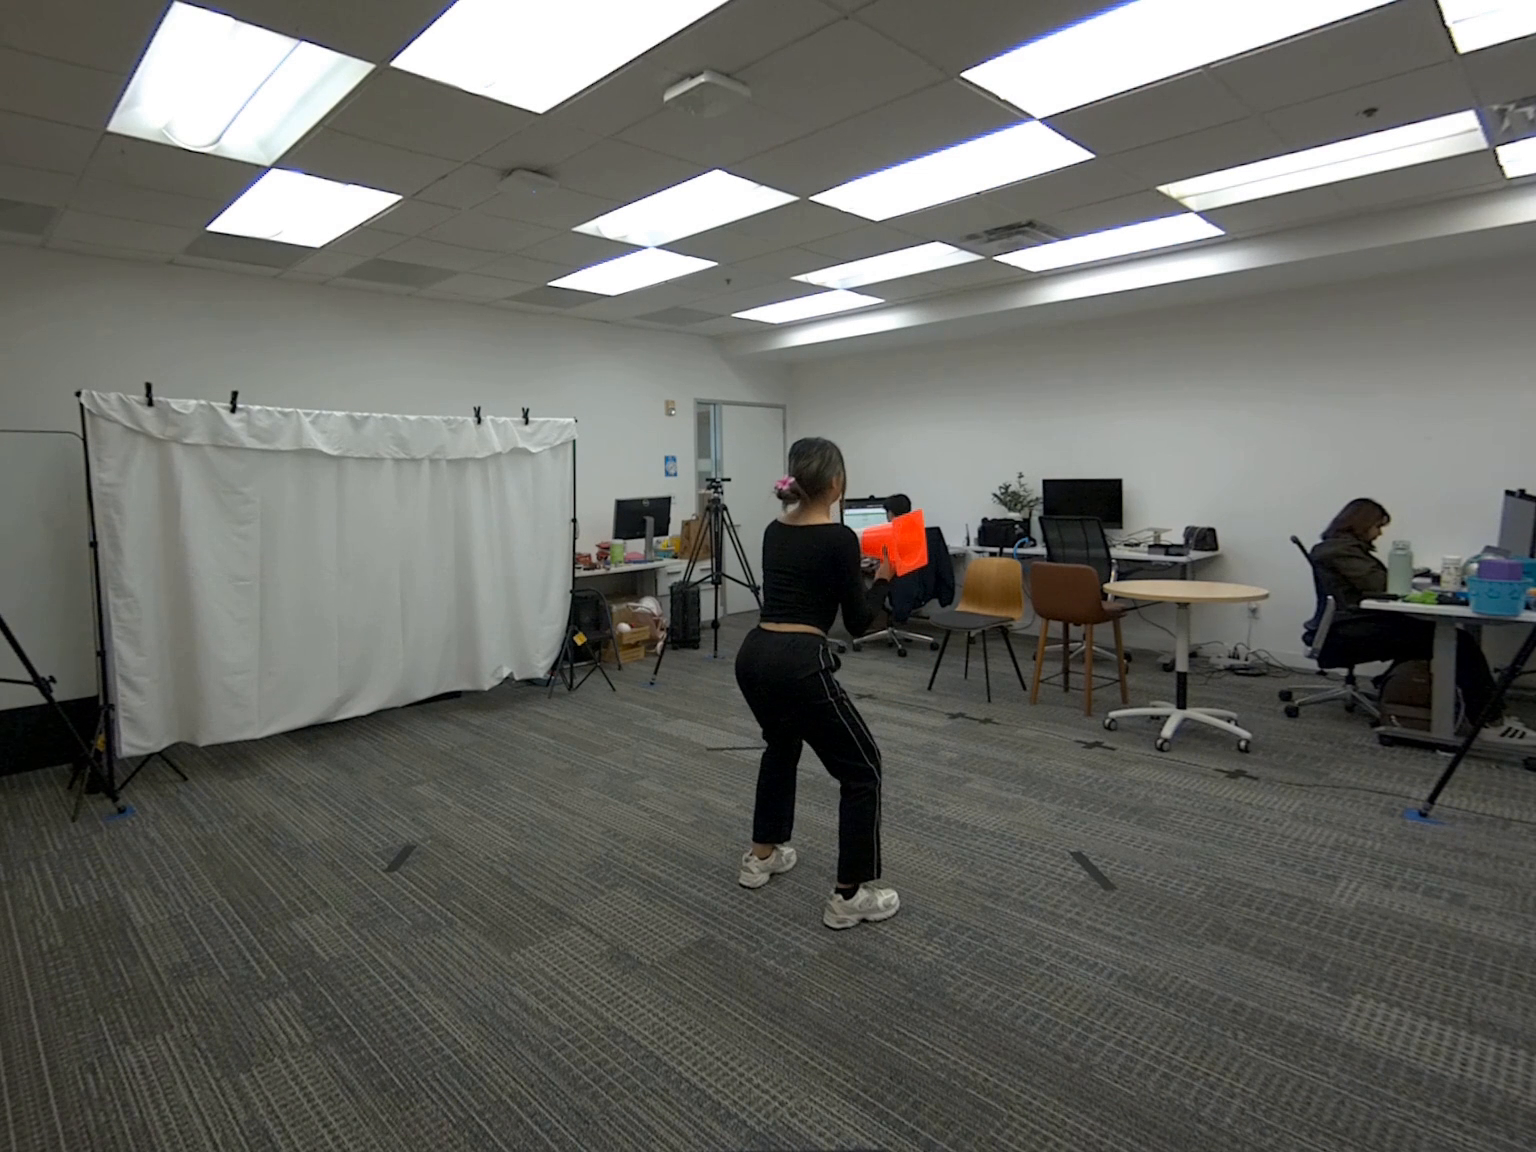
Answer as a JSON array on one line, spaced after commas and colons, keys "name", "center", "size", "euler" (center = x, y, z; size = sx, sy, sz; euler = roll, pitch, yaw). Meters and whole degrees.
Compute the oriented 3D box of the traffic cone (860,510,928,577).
[{"name": "traffic cone", "center": [0.352, -0.124, 3.050], "size": [0.395, 0.203, 0.199], "euler": [4, 14, 44]}]
